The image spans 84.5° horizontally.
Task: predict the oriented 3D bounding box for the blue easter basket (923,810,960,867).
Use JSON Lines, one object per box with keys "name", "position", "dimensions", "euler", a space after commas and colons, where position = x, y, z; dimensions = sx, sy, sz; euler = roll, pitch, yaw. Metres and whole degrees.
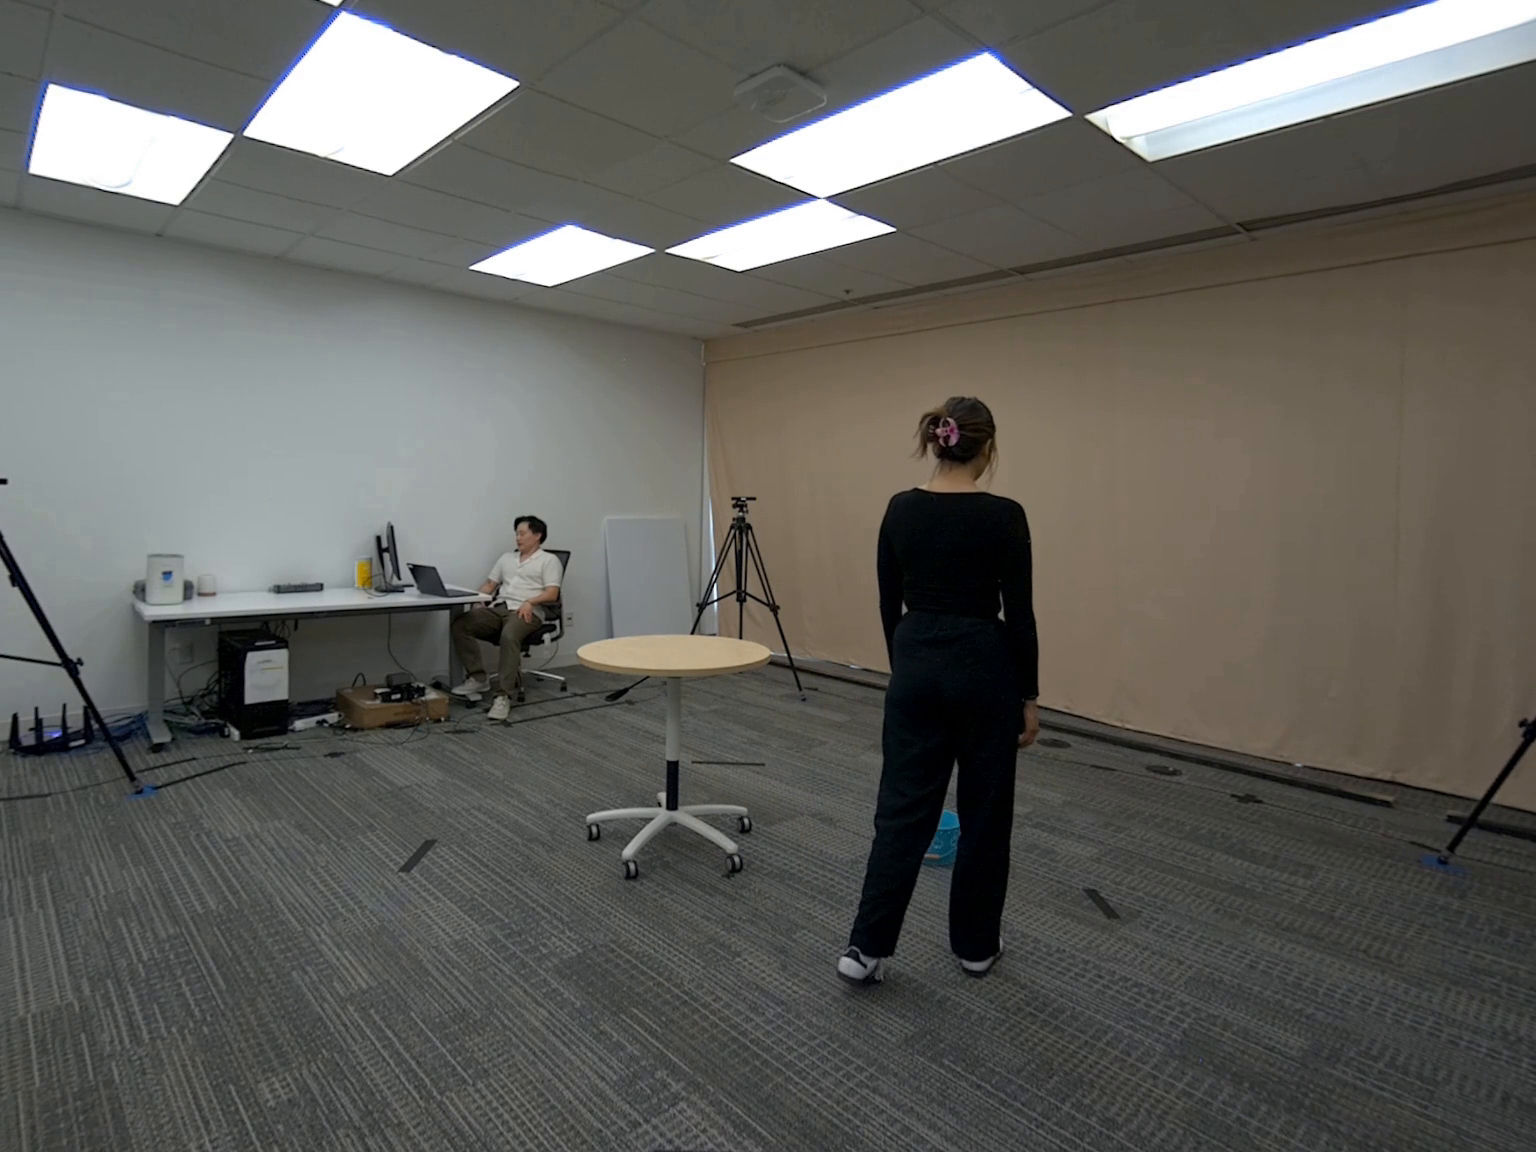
{"name": "blue easter basket", "position": [0.646, 1.037, 3.336], "dimensions": [0.243, 0.155, 0.244], "euler": [2, 3, -1]}
